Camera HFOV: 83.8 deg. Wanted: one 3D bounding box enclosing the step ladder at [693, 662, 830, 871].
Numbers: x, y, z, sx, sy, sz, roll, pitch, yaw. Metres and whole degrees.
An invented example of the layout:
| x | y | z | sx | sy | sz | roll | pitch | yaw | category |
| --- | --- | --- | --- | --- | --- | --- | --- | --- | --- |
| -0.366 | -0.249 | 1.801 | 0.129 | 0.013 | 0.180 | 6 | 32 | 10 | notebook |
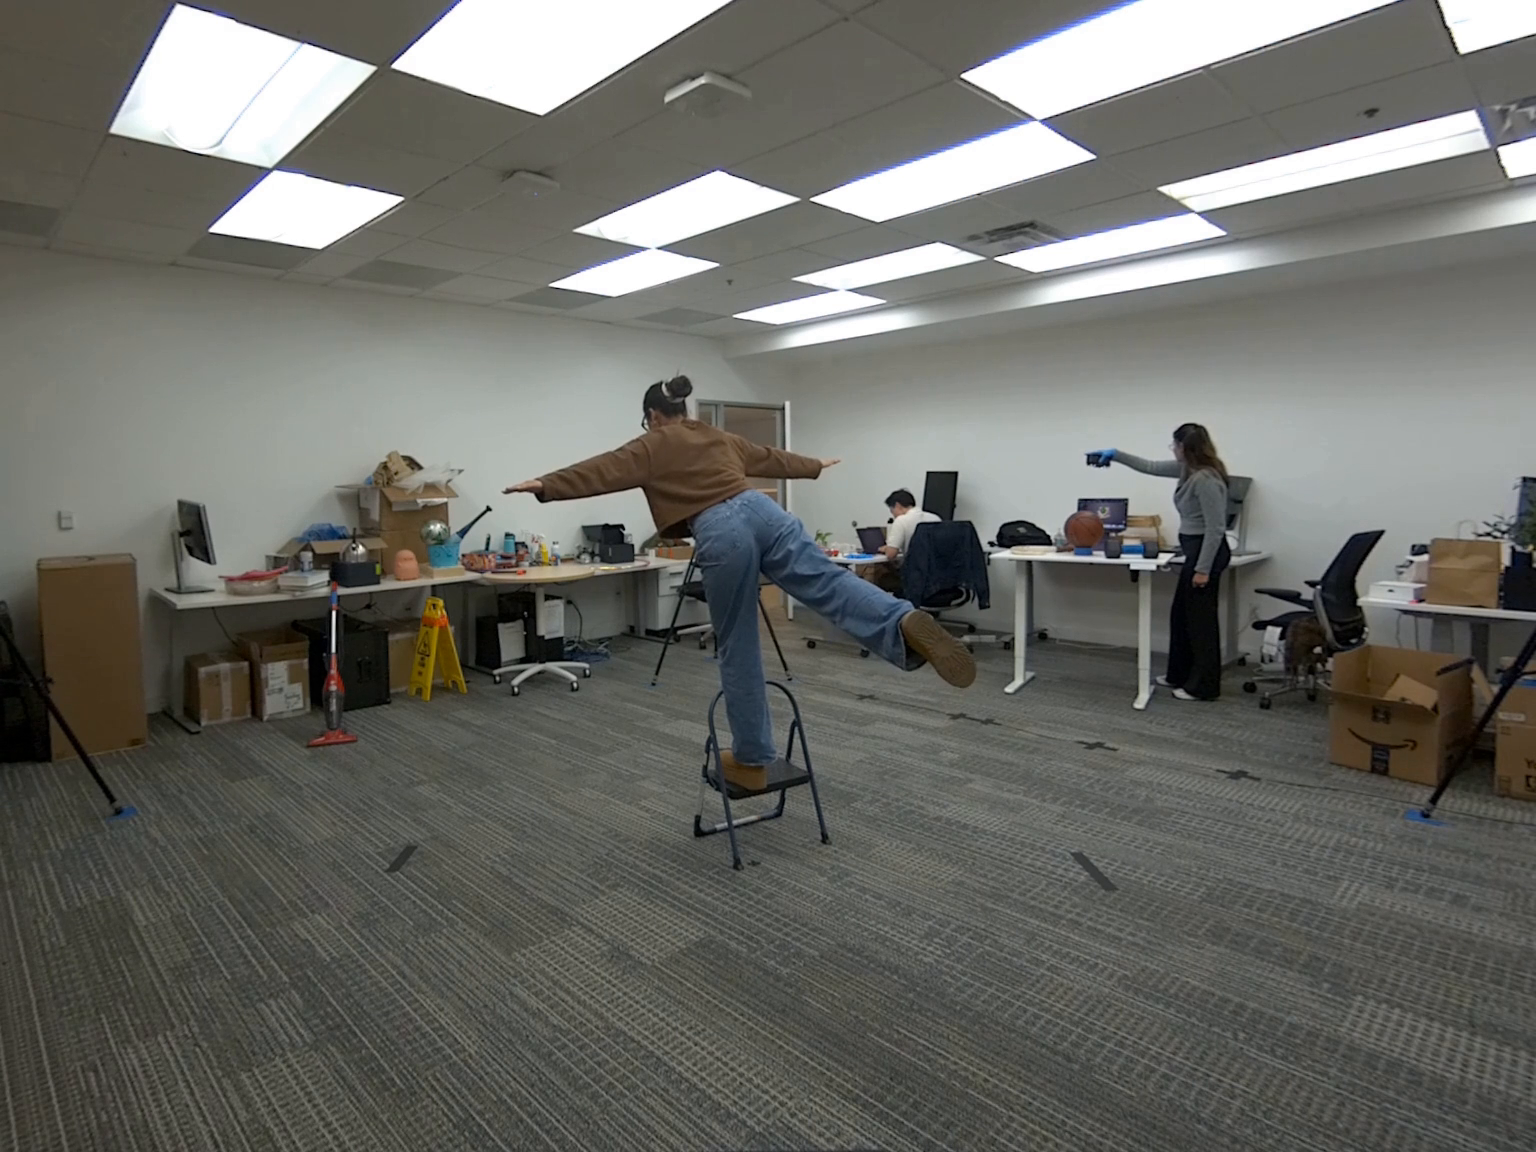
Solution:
| x | y | z | sx | sy | sz | roll | pitch | yaw | category |
| --- | --- | --- | --- | --- | --- | --- | --- | --- | --- |
| -0.031 | 0.722 | 3.292 | 0.420 | 0.604 | 0.359 | -4 | 5 | -33 | step ladder |
